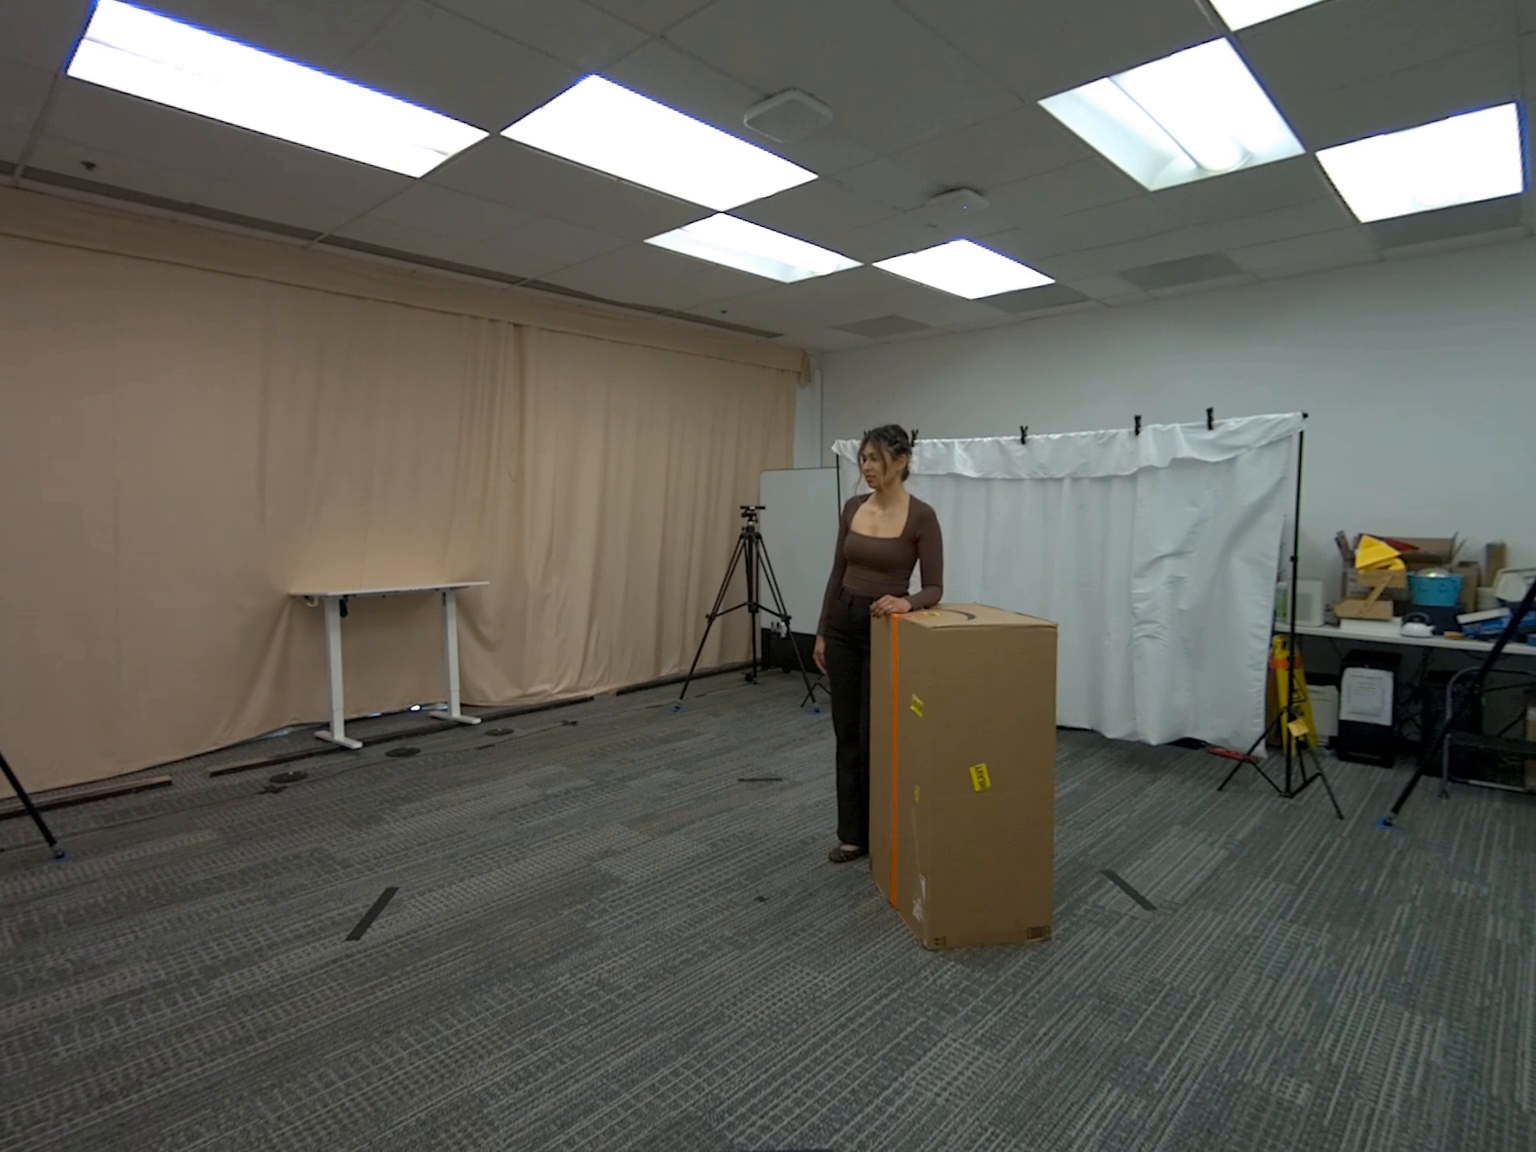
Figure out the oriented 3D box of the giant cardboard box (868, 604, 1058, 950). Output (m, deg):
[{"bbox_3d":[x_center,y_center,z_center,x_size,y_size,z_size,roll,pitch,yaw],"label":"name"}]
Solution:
[{"bbox_3d":[0.652,0.638,2.911,0.442,1.025,0.591,0,3,-11],"label":"giant cardboard box"}]
